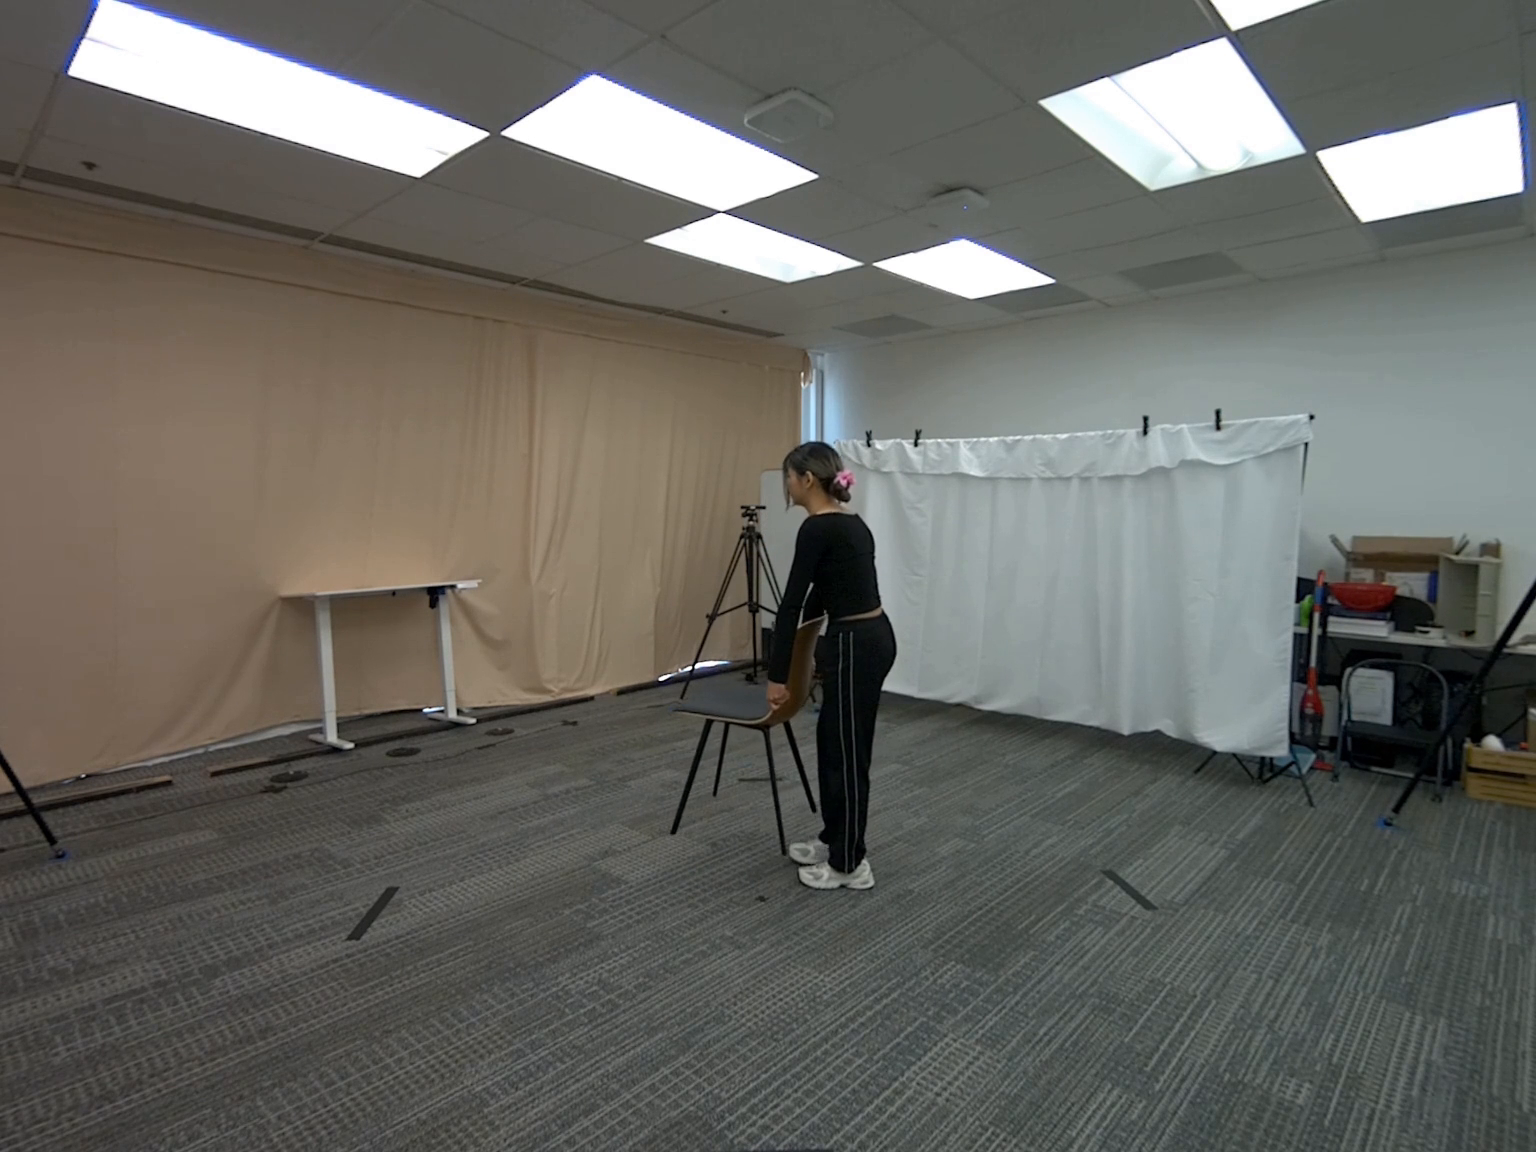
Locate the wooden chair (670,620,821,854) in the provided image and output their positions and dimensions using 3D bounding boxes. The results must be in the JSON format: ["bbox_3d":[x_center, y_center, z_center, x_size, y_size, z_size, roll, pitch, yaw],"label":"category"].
[{"bbox_3d":[-0.082,0.552,3.265,0.535,0.874,0.469,8,8,19],"label":"wooden chair"}]
